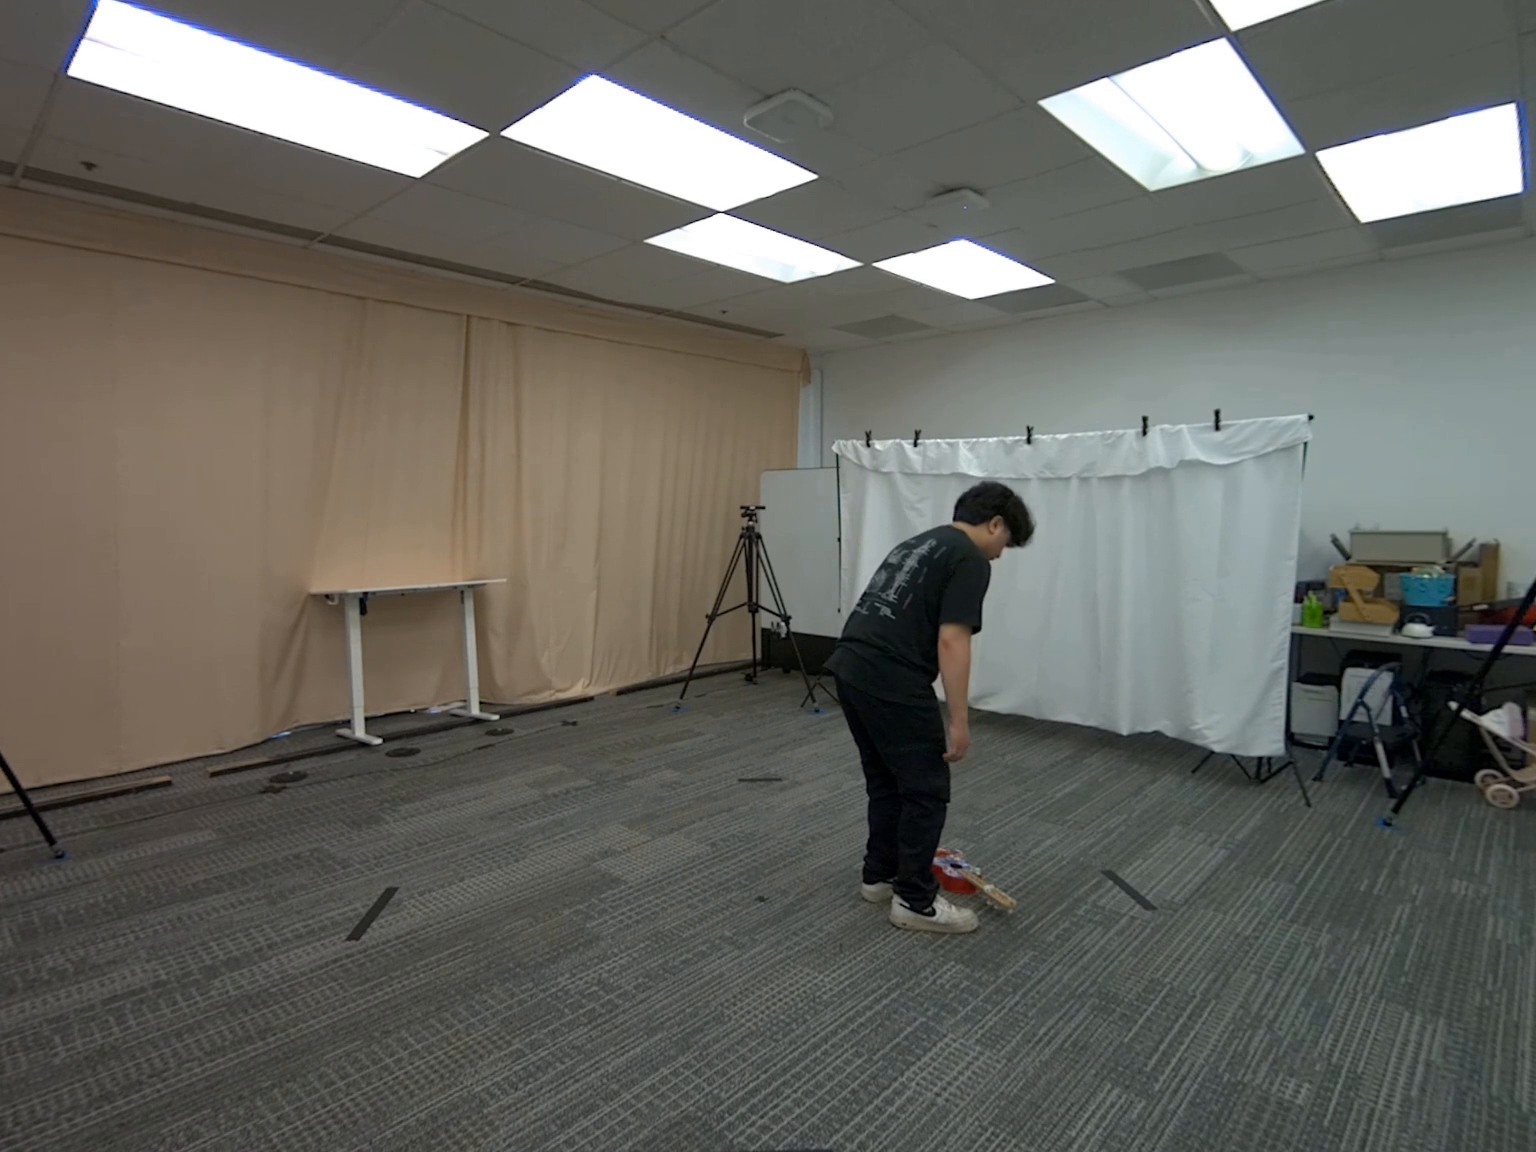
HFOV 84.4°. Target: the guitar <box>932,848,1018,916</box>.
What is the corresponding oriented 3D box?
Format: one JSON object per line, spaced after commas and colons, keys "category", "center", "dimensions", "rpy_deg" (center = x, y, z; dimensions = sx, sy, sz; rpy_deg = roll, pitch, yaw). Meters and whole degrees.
{"category": "guitar", "center": [0.700, 1.103, 3.035], "dimensions": [0.191, 0.070, 0.504], "rpy_deg": [0, 4, -12]}
